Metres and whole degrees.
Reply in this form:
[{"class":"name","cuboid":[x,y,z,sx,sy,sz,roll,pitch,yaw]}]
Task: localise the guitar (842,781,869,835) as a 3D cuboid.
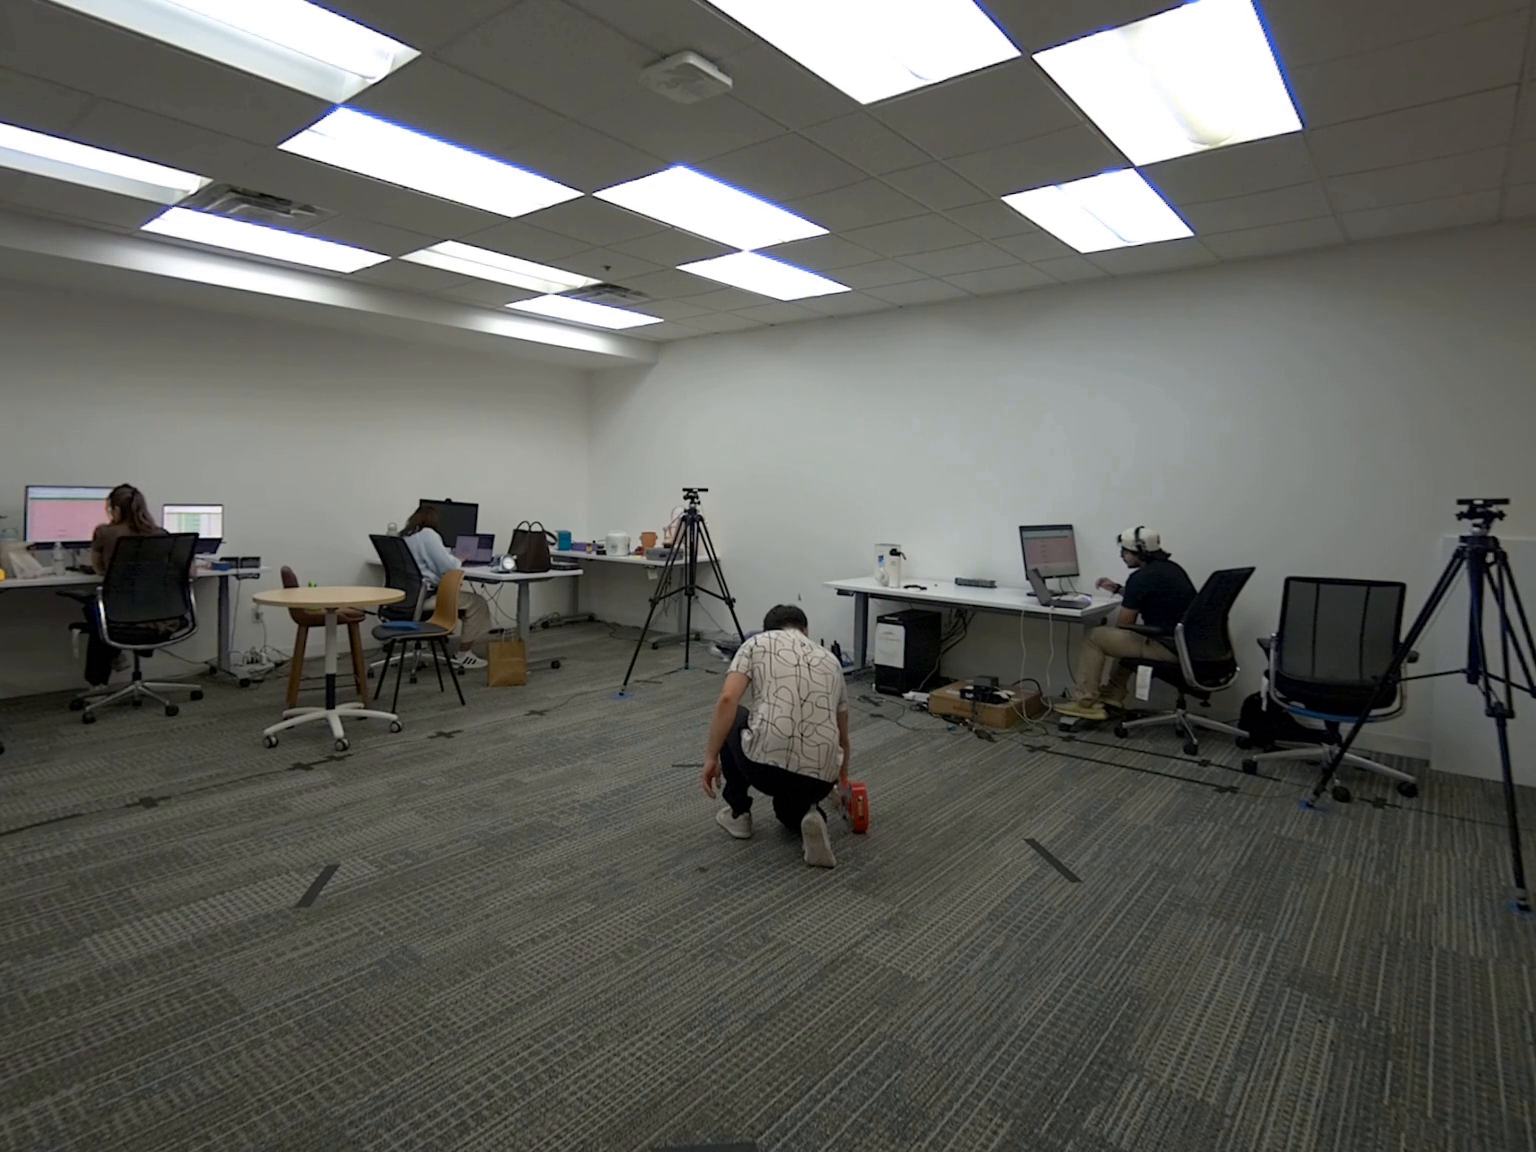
[{"class":"guitar","cuboid":[0.326,0.937,3.695,0.070,0.192,0.504,-4,5,-9]}]
